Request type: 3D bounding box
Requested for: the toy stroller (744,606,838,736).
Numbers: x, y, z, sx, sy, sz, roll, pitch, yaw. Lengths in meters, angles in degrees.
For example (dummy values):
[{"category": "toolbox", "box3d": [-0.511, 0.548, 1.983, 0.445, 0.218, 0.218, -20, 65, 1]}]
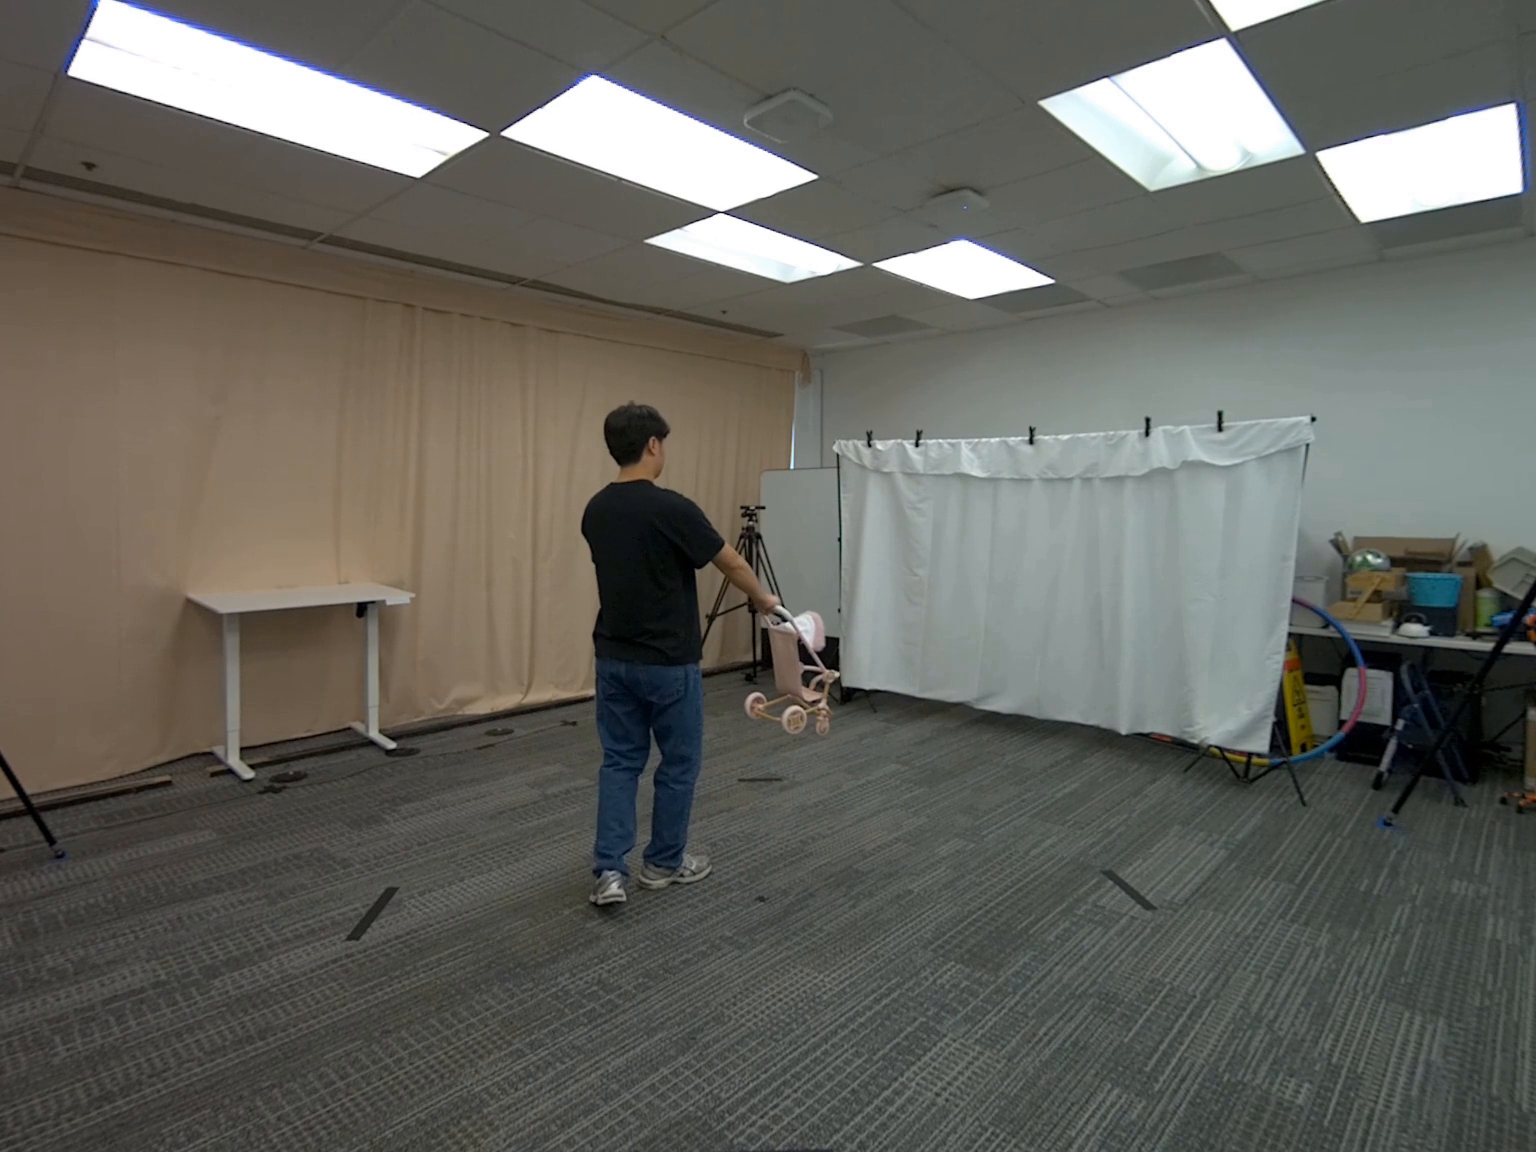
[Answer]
[{"category": "toy stroller", "box3d": [0.124, 0.374, 3.309, 0.332, 0.534, 0.290, 0, 2, -31]}]
